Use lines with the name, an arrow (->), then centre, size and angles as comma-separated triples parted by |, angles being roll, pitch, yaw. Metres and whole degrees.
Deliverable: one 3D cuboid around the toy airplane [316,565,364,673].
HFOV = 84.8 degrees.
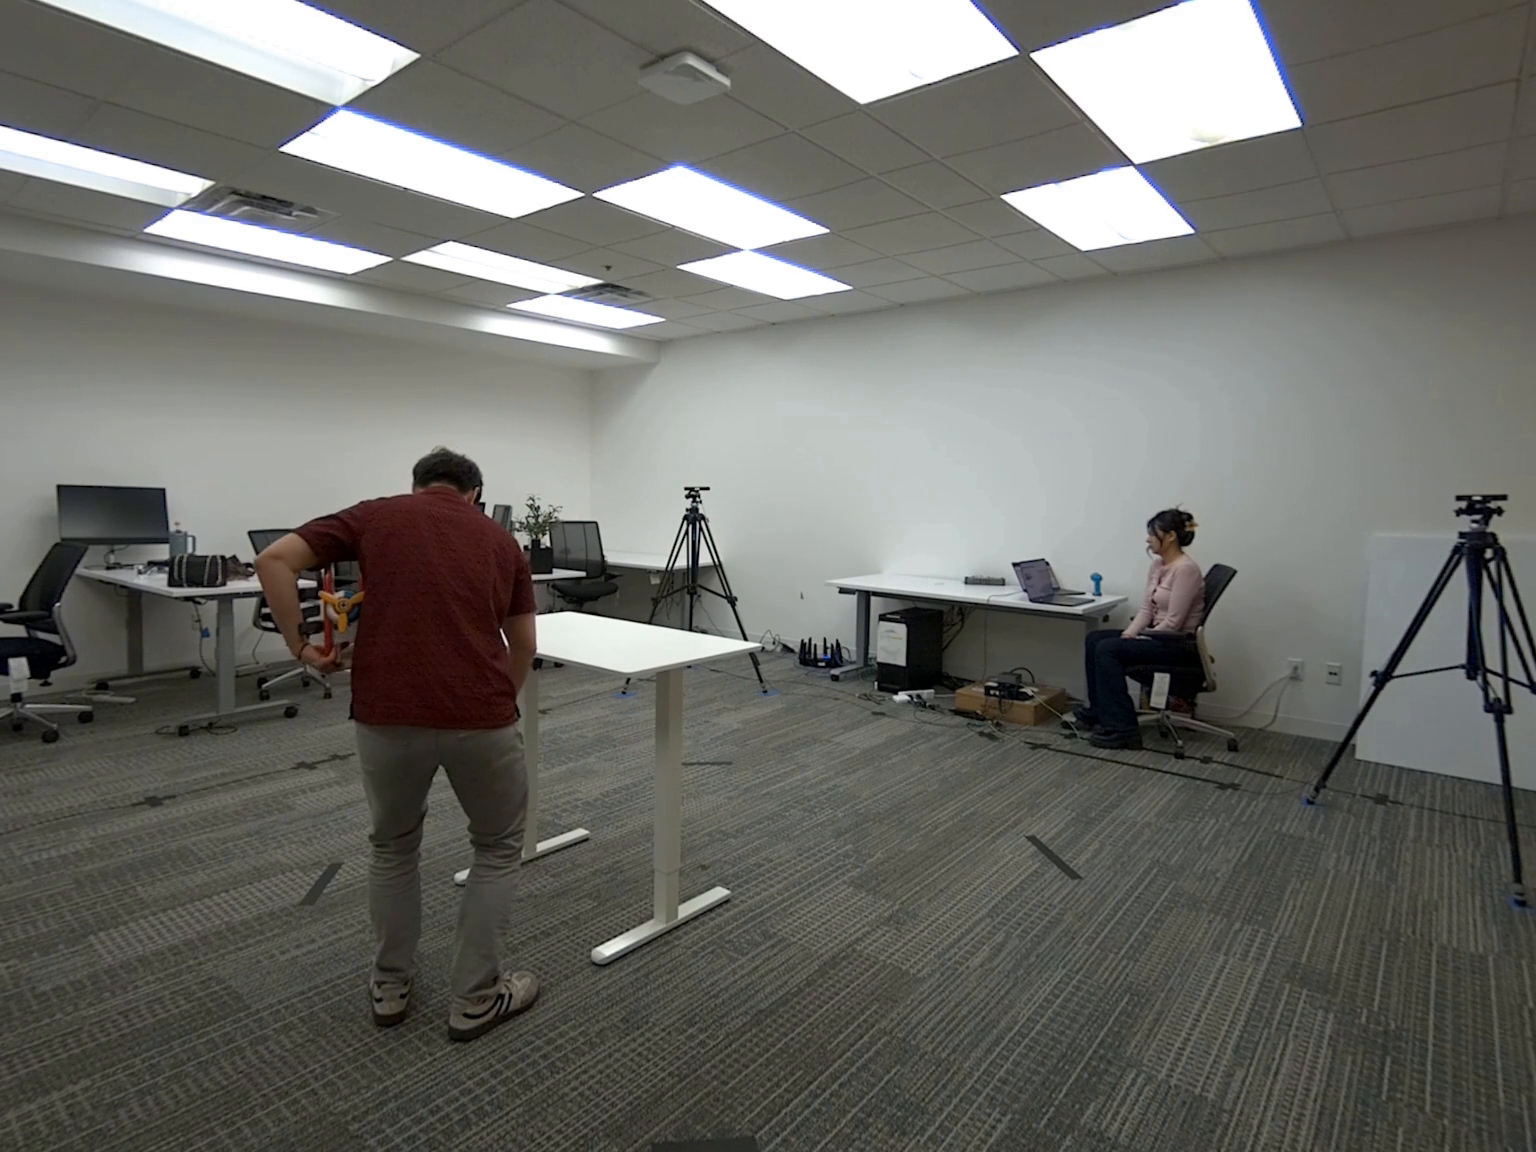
toy airplane -> -1.110, 0.072, 2.209 | 0.155, 0.247, 0.265 | 0, 18, -9
